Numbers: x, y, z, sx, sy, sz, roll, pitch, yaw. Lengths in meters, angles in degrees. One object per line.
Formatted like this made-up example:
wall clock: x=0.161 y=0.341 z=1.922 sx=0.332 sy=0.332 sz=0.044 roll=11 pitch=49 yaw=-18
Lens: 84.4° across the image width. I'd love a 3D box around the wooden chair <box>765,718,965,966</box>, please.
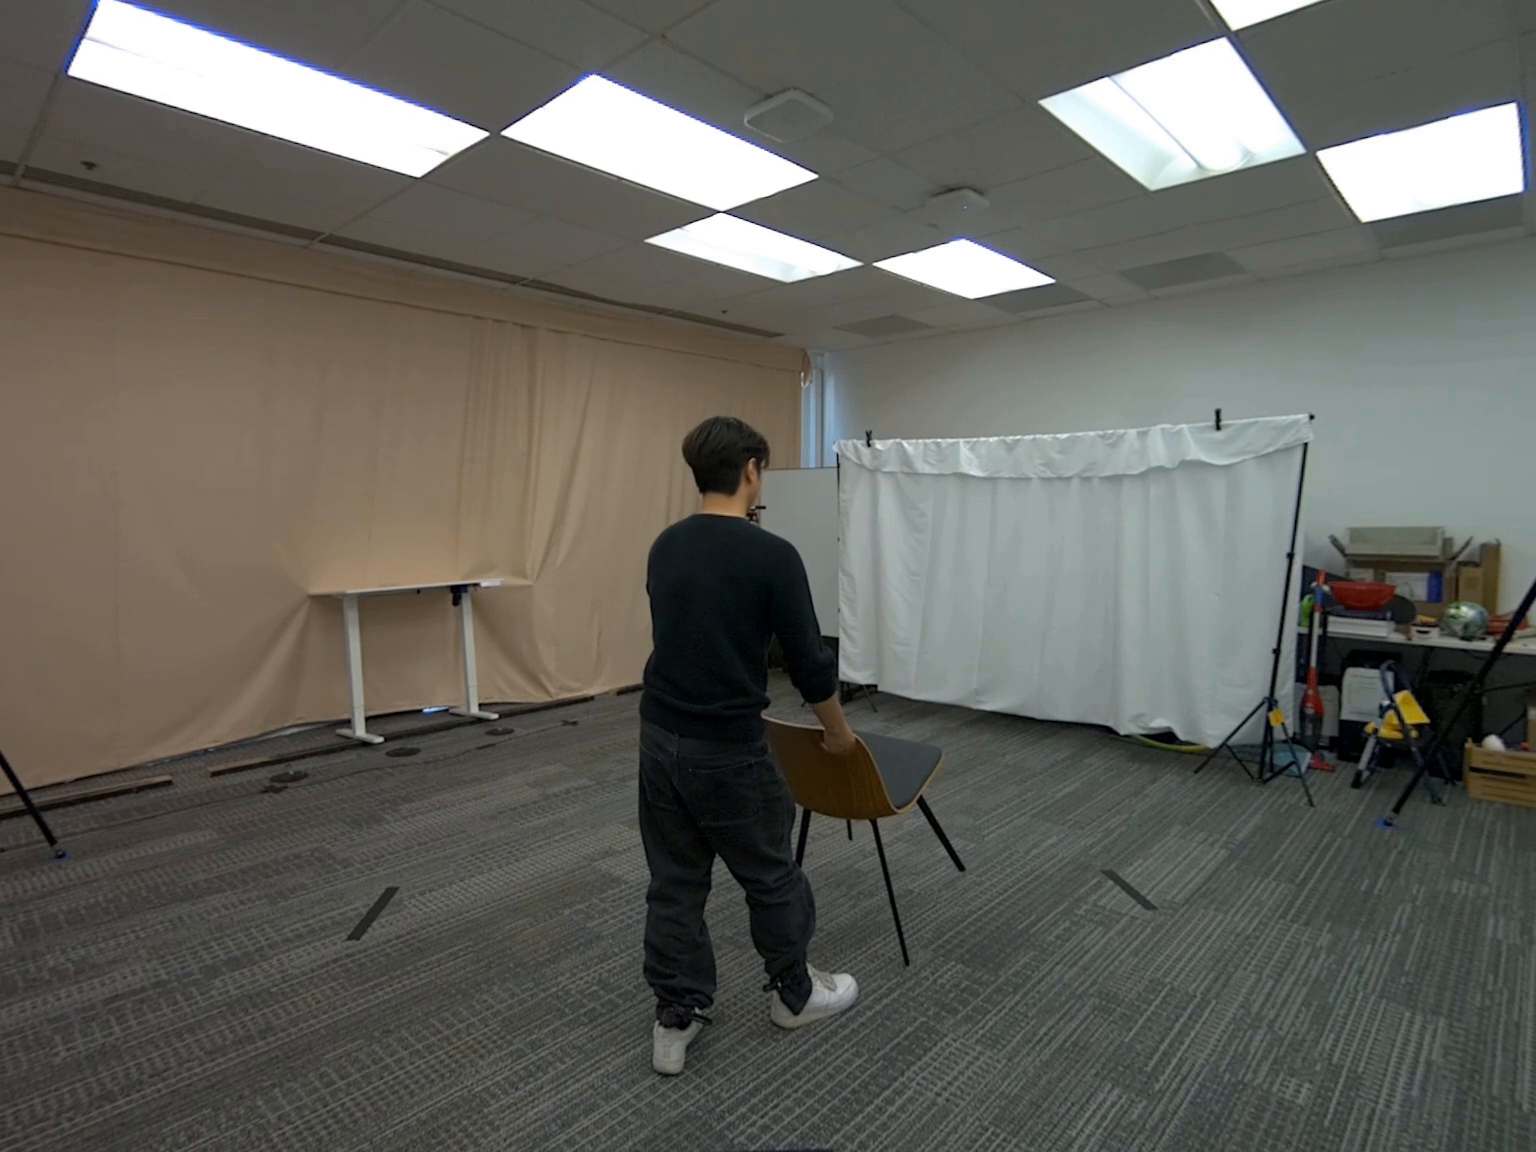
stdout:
wooden chair: x=0.293 y=0.687 z=2.719 sx=0.494 sy=0.862 sz=0.516 roll=3 pitch=28 yaw=38
